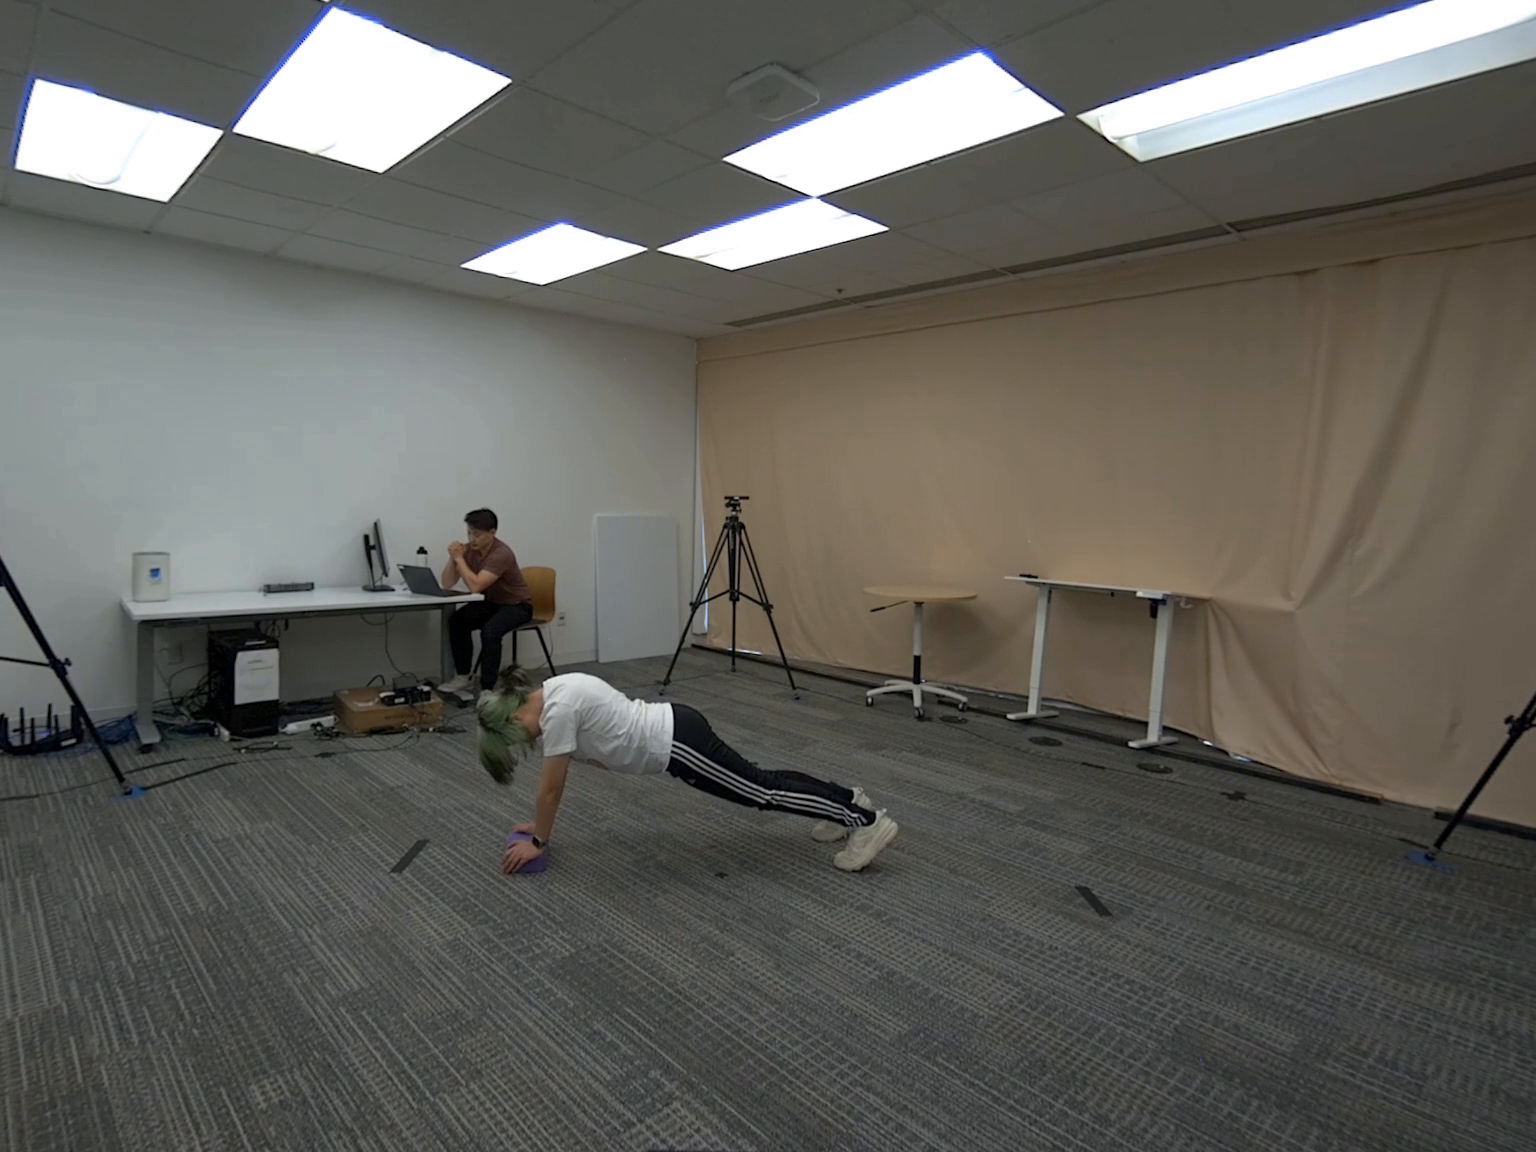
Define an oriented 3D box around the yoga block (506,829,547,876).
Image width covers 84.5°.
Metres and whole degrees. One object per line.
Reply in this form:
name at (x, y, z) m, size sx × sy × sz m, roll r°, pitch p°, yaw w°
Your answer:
yoga block at (-0.915, 1.040, 3.196) m, size 0.148 × 0.076 × 0.232 m, roll 1°, pitch 6°, yaw -10°
